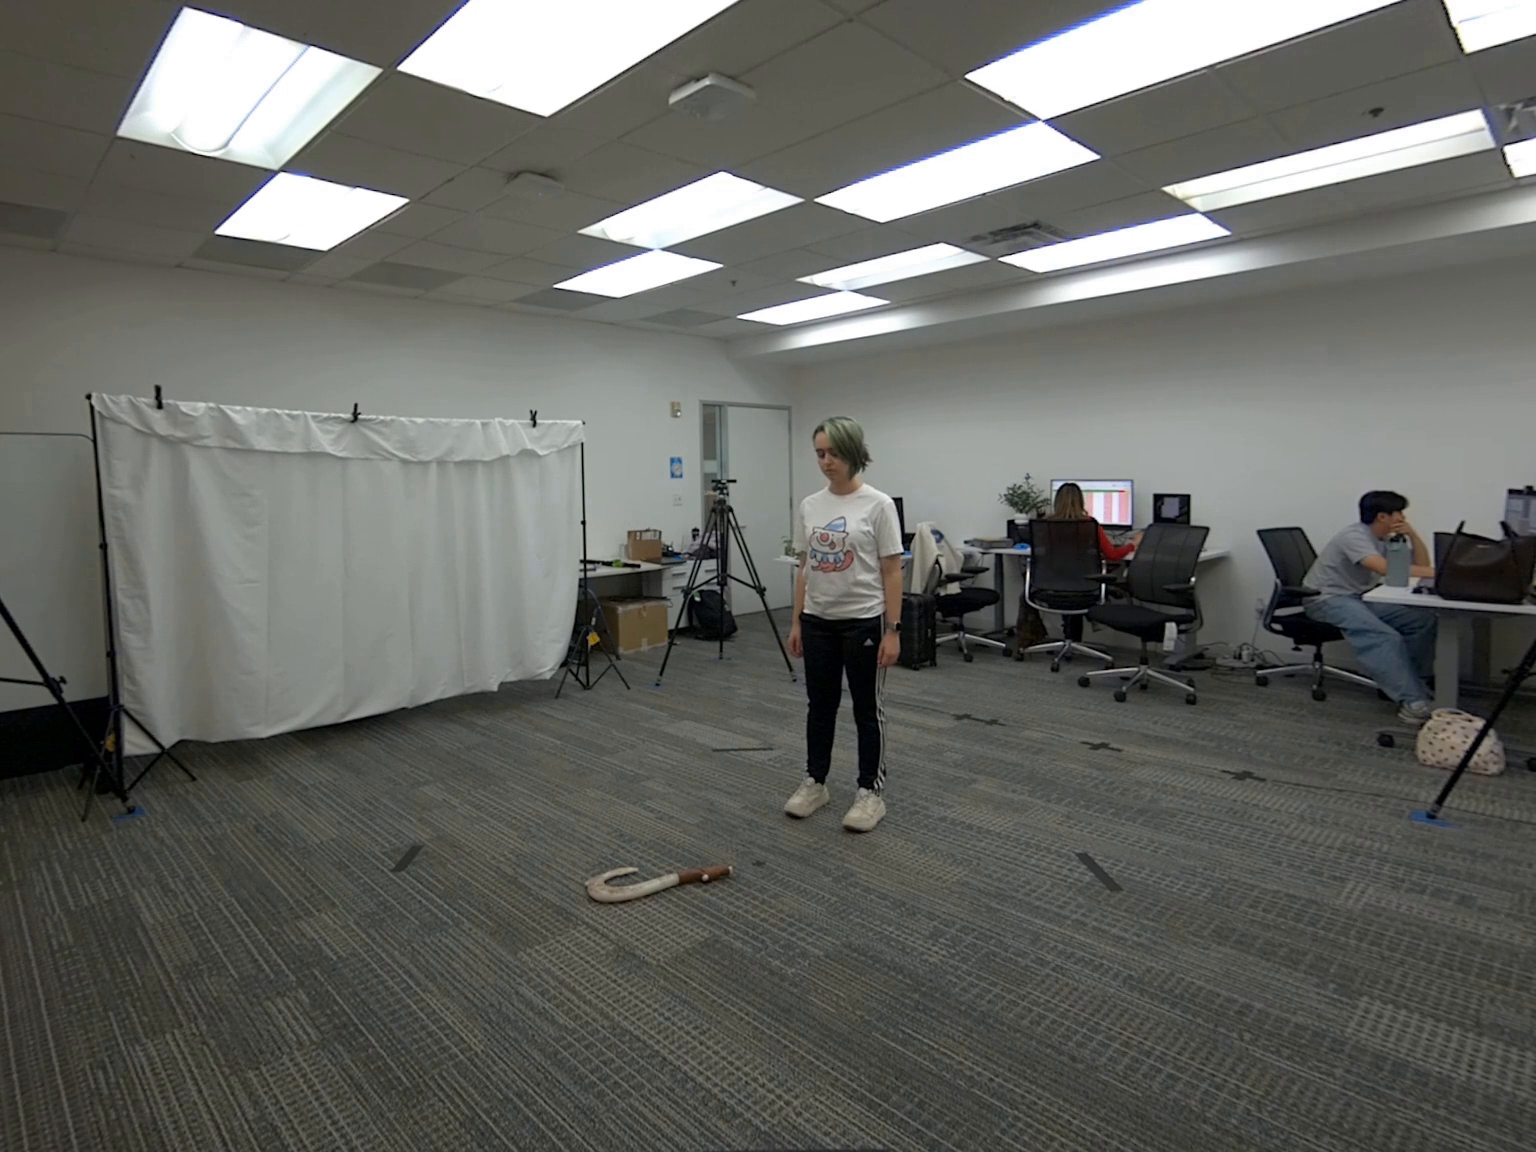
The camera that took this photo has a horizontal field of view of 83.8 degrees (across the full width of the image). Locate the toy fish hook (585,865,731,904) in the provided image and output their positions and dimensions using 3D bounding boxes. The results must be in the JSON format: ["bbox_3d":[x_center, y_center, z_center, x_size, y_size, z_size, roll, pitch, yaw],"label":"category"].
[{"bbox_3d":[-0.376,1.043,2.981,0.498,0.048,0.229,-3,8,-19],"label":"toy fish hook"}]
